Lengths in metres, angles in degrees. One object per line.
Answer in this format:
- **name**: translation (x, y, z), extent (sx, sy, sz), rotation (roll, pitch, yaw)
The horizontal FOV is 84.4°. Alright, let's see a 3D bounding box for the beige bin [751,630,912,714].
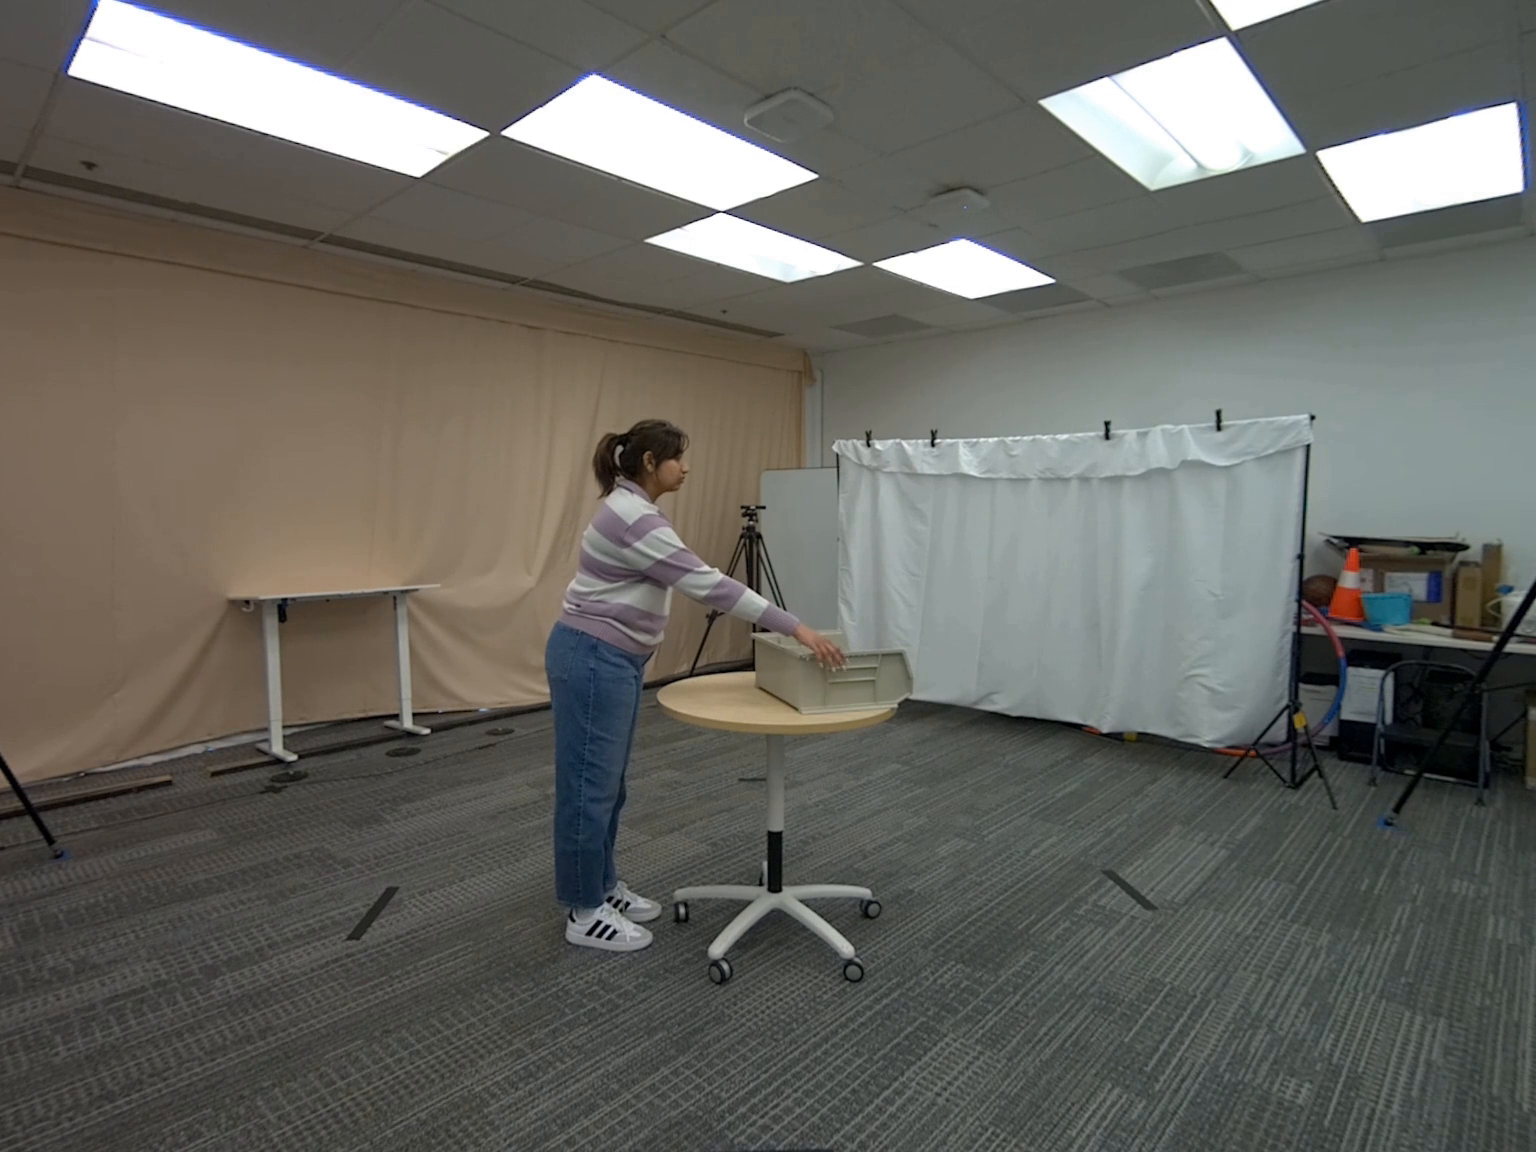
- **beige bin**: translation (0.195, 0.297, 2.684), extent (0.370, 0.188, 0.432), rotation (-3, 6, -19)
